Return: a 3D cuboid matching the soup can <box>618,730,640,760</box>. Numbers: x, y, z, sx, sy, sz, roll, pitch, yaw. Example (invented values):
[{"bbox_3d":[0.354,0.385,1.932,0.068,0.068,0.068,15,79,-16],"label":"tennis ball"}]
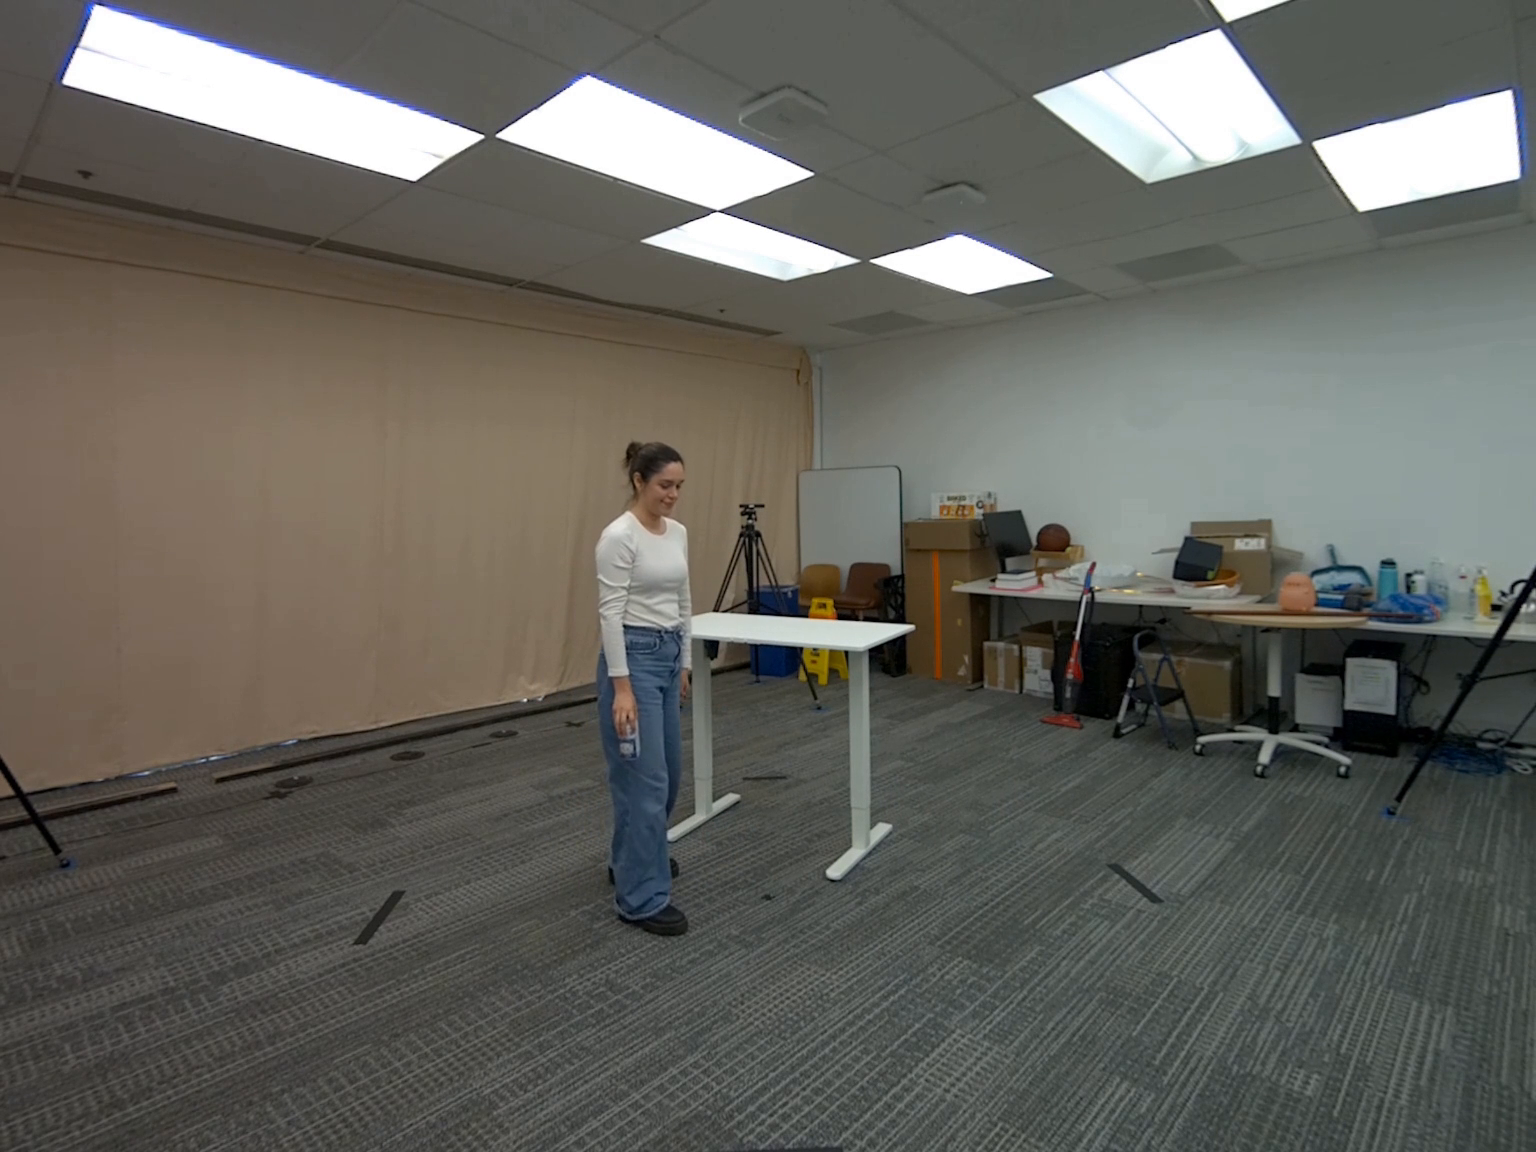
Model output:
[{"bbox_3d":[-0.437,0.519,2.688,0.067,0.121,0.067,-2,2,-2],"label":"soup can"}]
